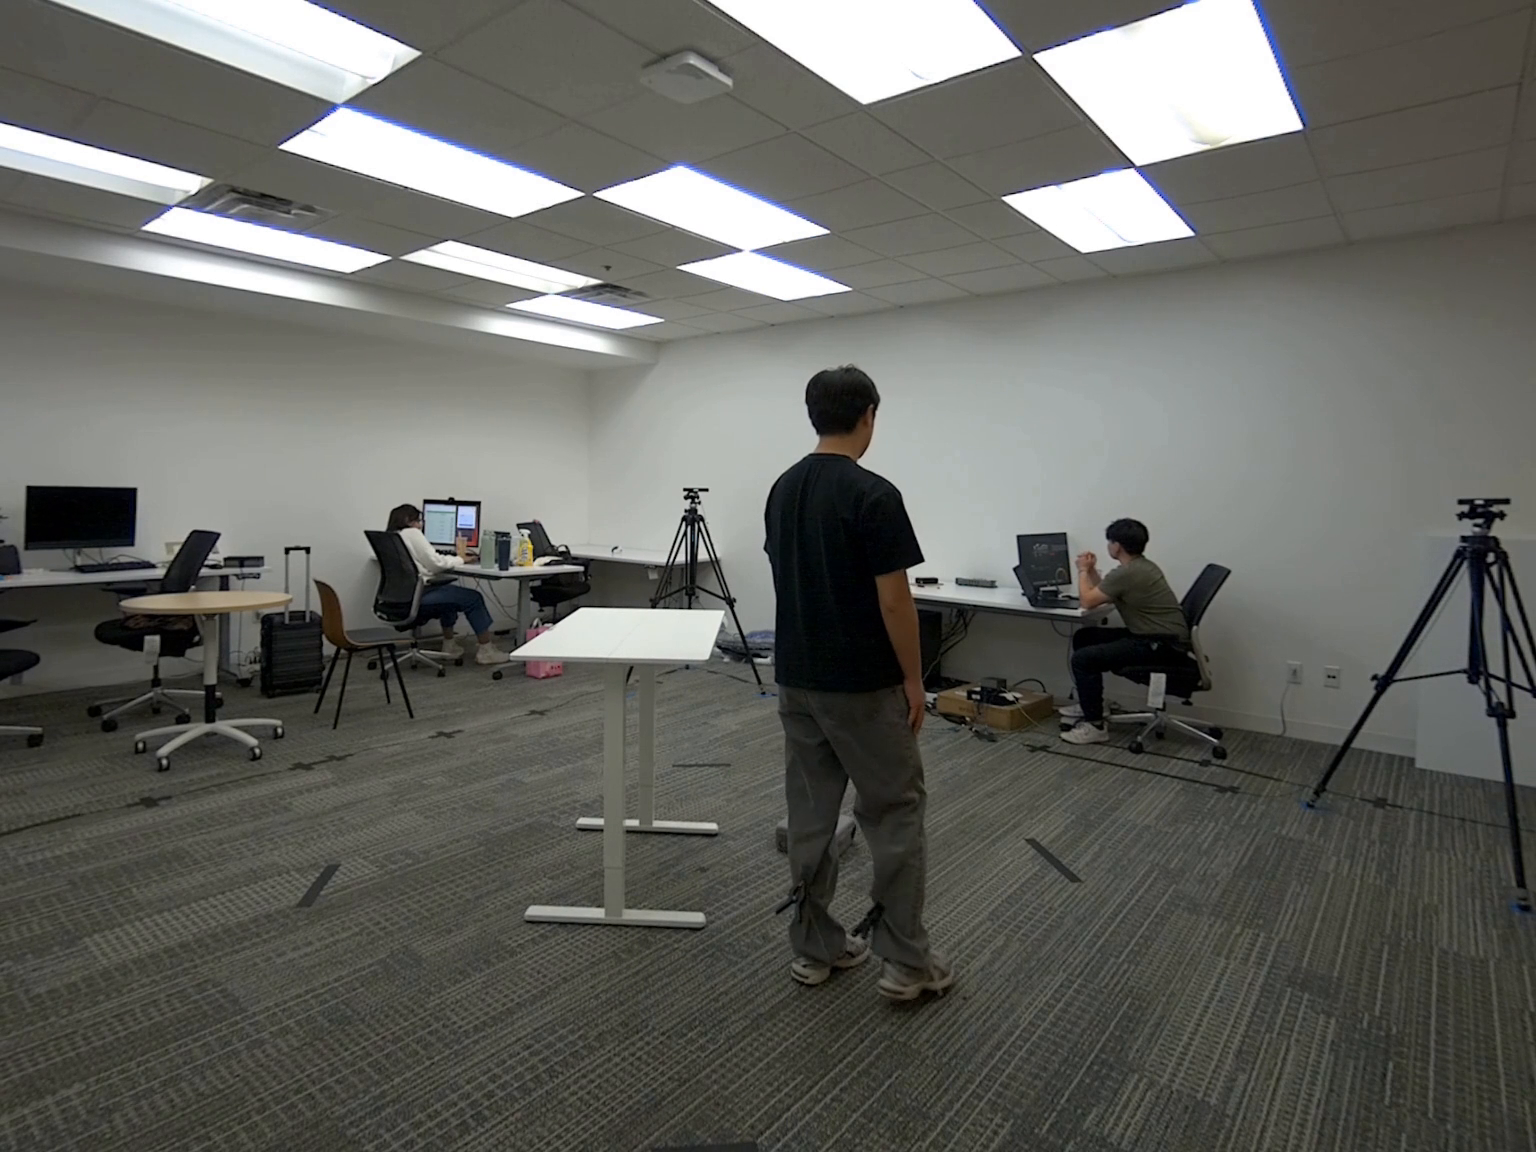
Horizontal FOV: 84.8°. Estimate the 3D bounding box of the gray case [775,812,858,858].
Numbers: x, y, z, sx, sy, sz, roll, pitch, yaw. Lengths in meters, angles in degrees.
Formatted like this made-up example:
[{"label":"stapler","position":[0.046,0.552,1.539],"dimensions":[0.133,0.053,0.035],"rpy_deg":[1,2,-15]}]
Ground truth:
[{"label":"gray case","position":[0.170,1.003,3.343],"dimensions":[0.295,0.103,0.257],"rpy_deg":[2,5,28]}]
